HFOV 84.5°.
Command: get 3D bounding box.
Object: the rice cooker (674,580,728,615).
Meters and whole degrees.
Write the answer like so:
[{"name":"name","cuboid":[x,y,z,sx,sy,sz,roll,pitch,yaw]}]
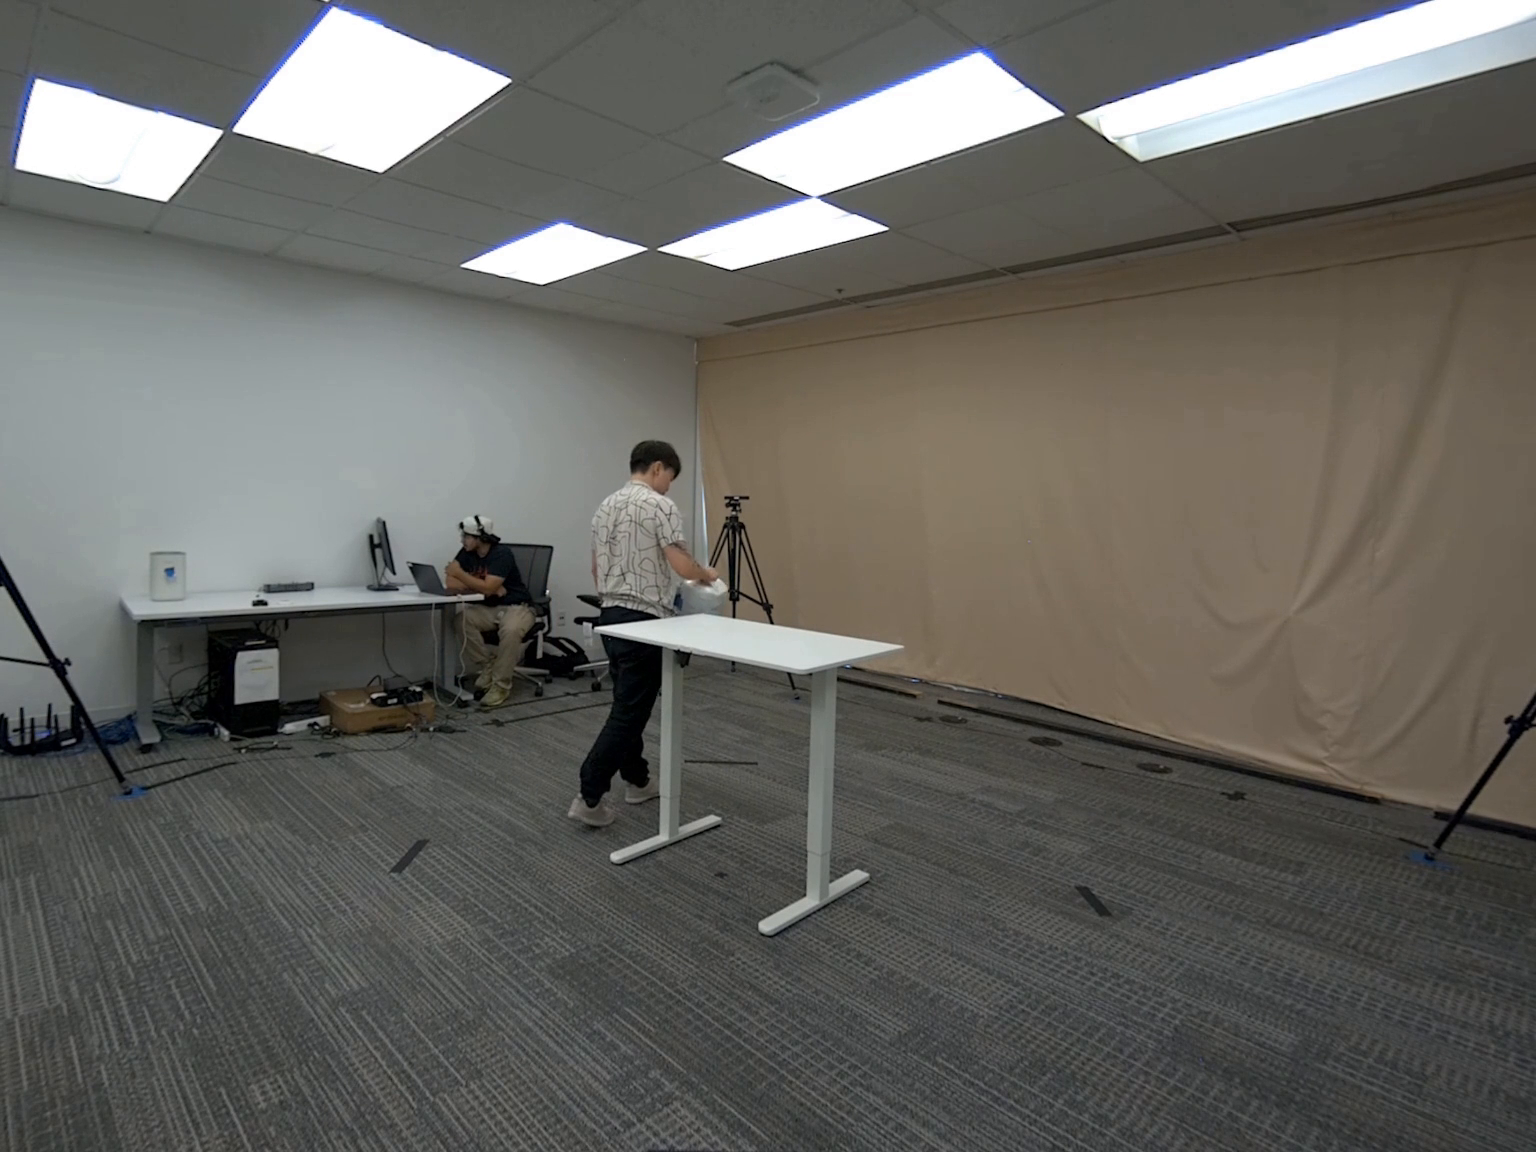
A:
[{"name":"rice cooker","cuboid":[-0.310,0.106,3.872,0.213,0.230,0.227,-2,22,-36]}]
